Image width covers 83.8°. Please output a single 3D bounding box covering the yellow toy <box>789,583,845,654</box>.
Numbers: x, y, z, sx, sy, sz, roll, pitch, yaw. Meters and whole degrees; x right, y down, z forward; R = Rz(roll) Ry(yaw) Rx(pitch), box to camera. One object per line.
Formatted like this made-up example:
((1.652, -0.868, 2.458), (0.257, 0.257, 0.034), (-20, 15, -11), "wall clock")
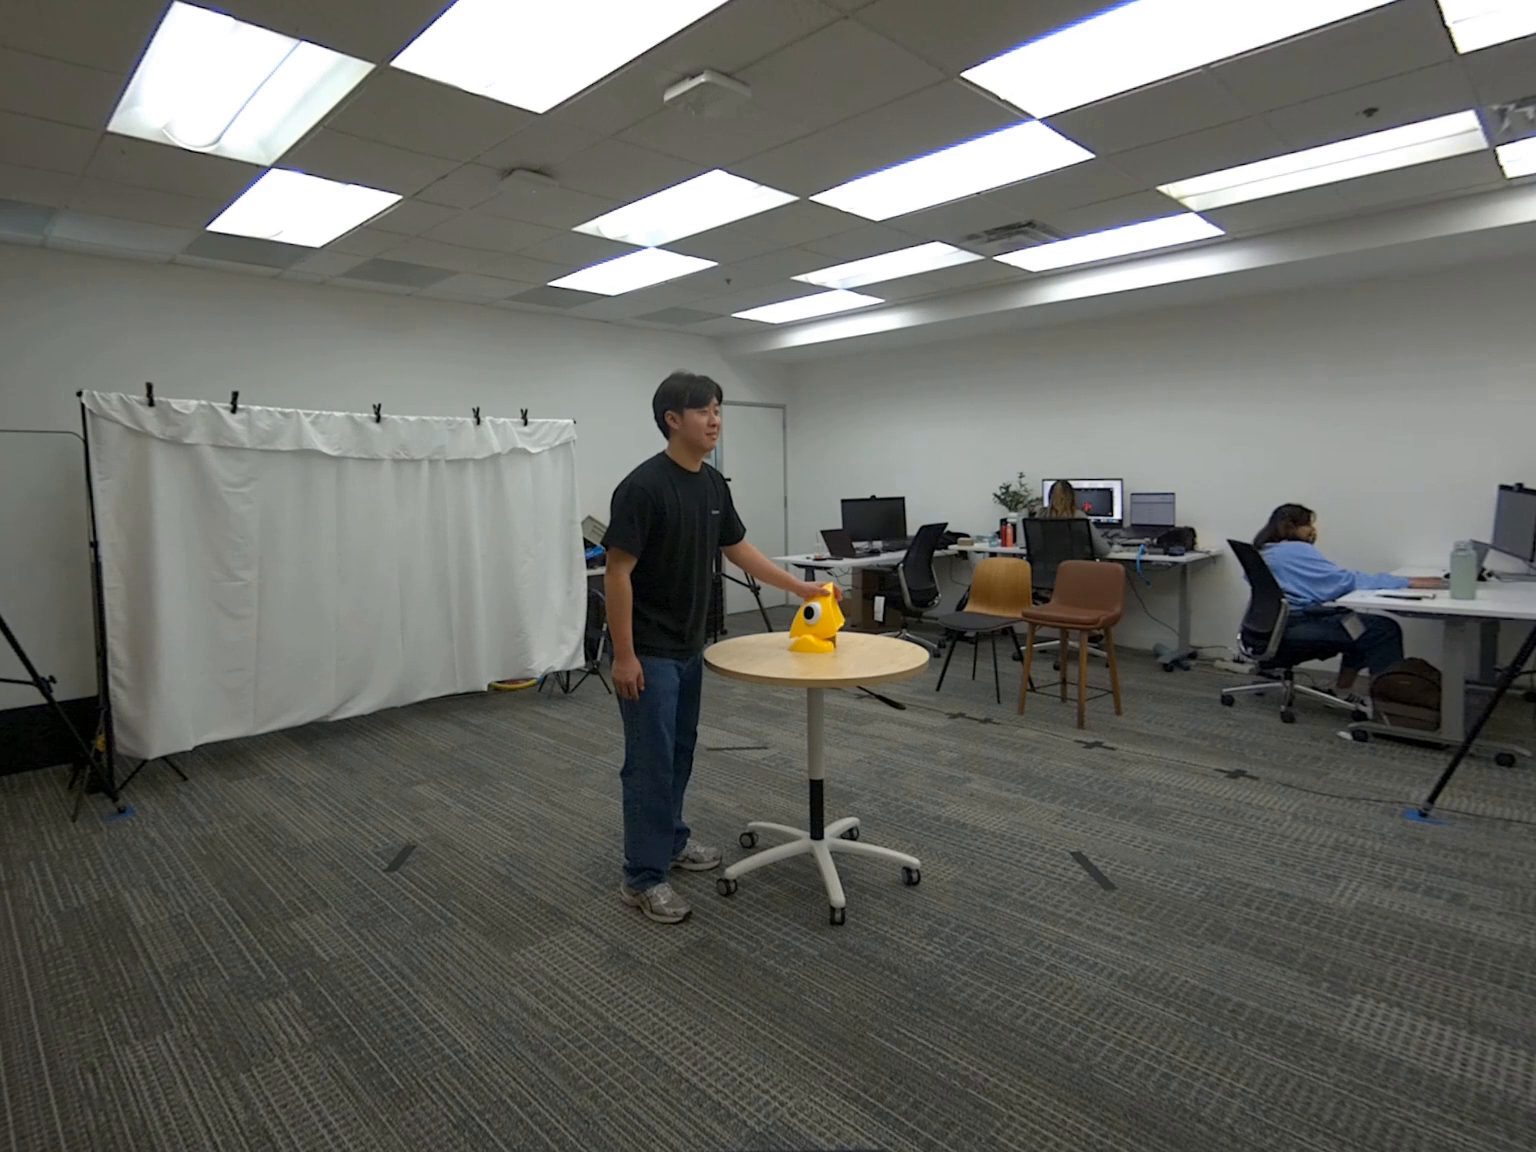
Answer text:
((0.166, 0.136, 3.018), (0.196, 0.230, 0.202), (0, 4, 14), "yellow toy")
